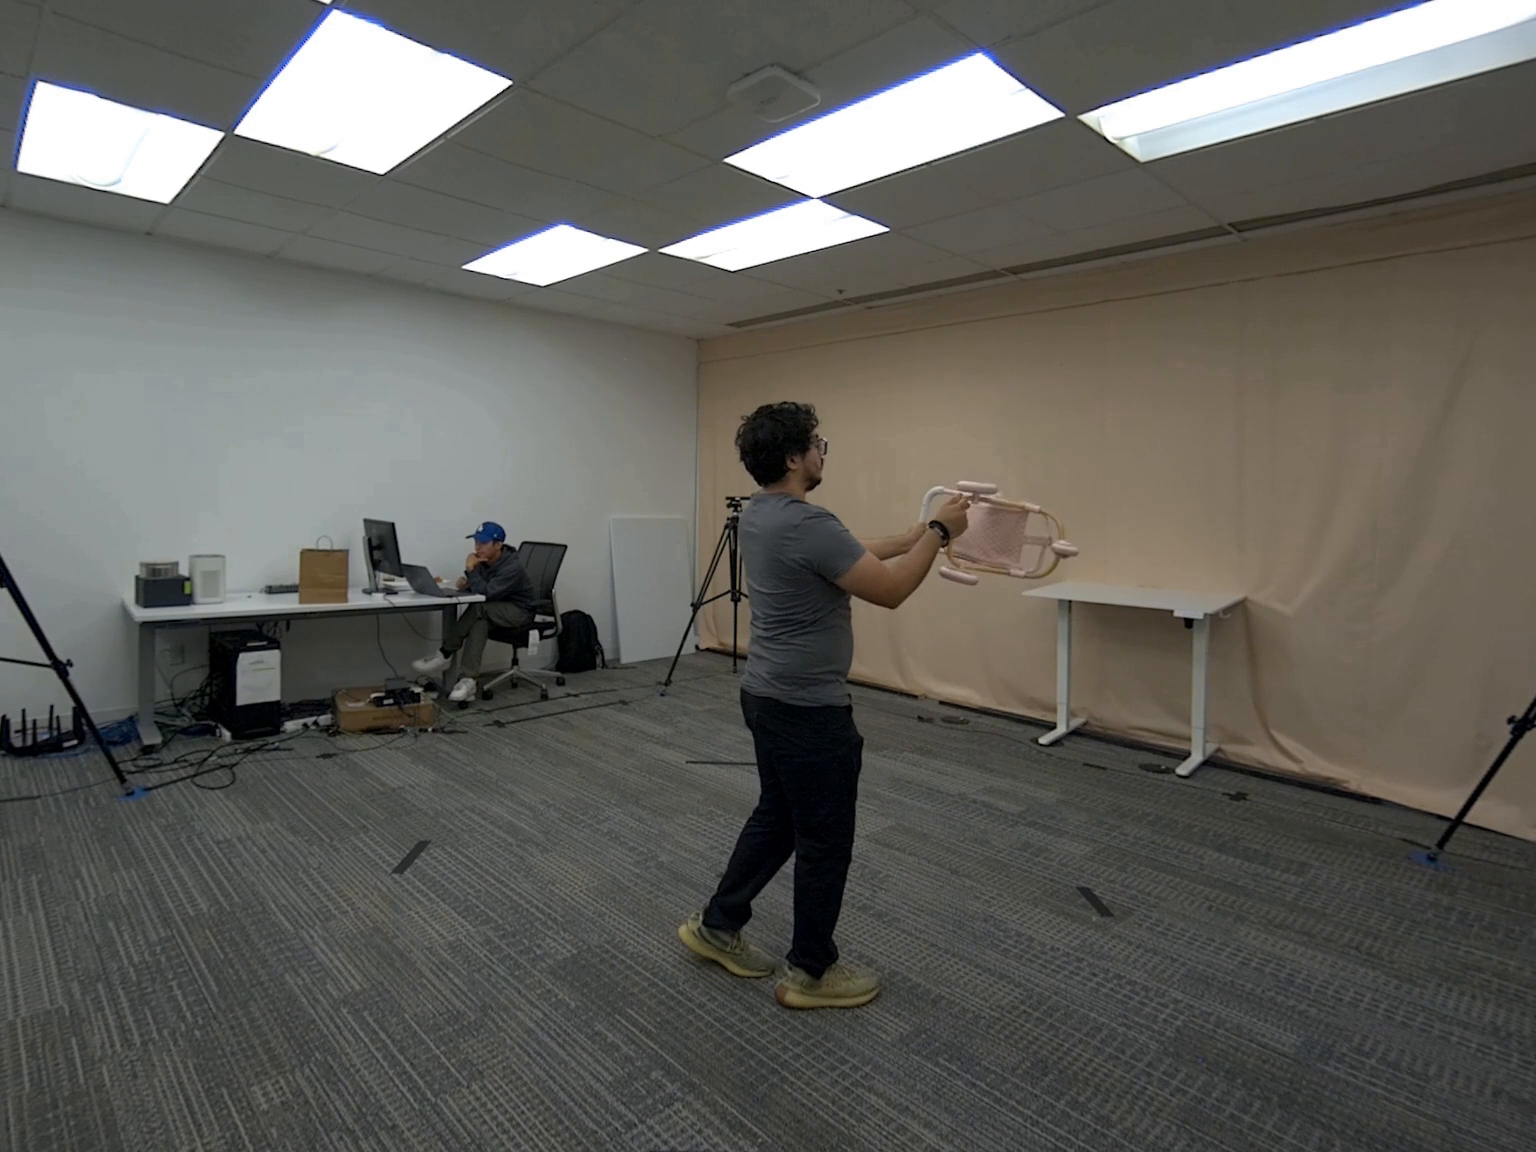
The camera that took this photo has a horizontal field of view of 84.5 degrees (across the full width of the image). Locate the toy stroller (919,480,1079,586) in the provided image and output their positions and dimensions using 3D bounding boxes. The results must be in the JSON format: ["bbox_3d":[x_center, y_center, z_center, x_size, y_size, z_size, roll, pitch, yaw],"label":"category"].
[{"bbox_3d":[0.650,-0.126,2.461,0.342,0.280,0.537,6,8,1],"label":"toy stroller"}]
